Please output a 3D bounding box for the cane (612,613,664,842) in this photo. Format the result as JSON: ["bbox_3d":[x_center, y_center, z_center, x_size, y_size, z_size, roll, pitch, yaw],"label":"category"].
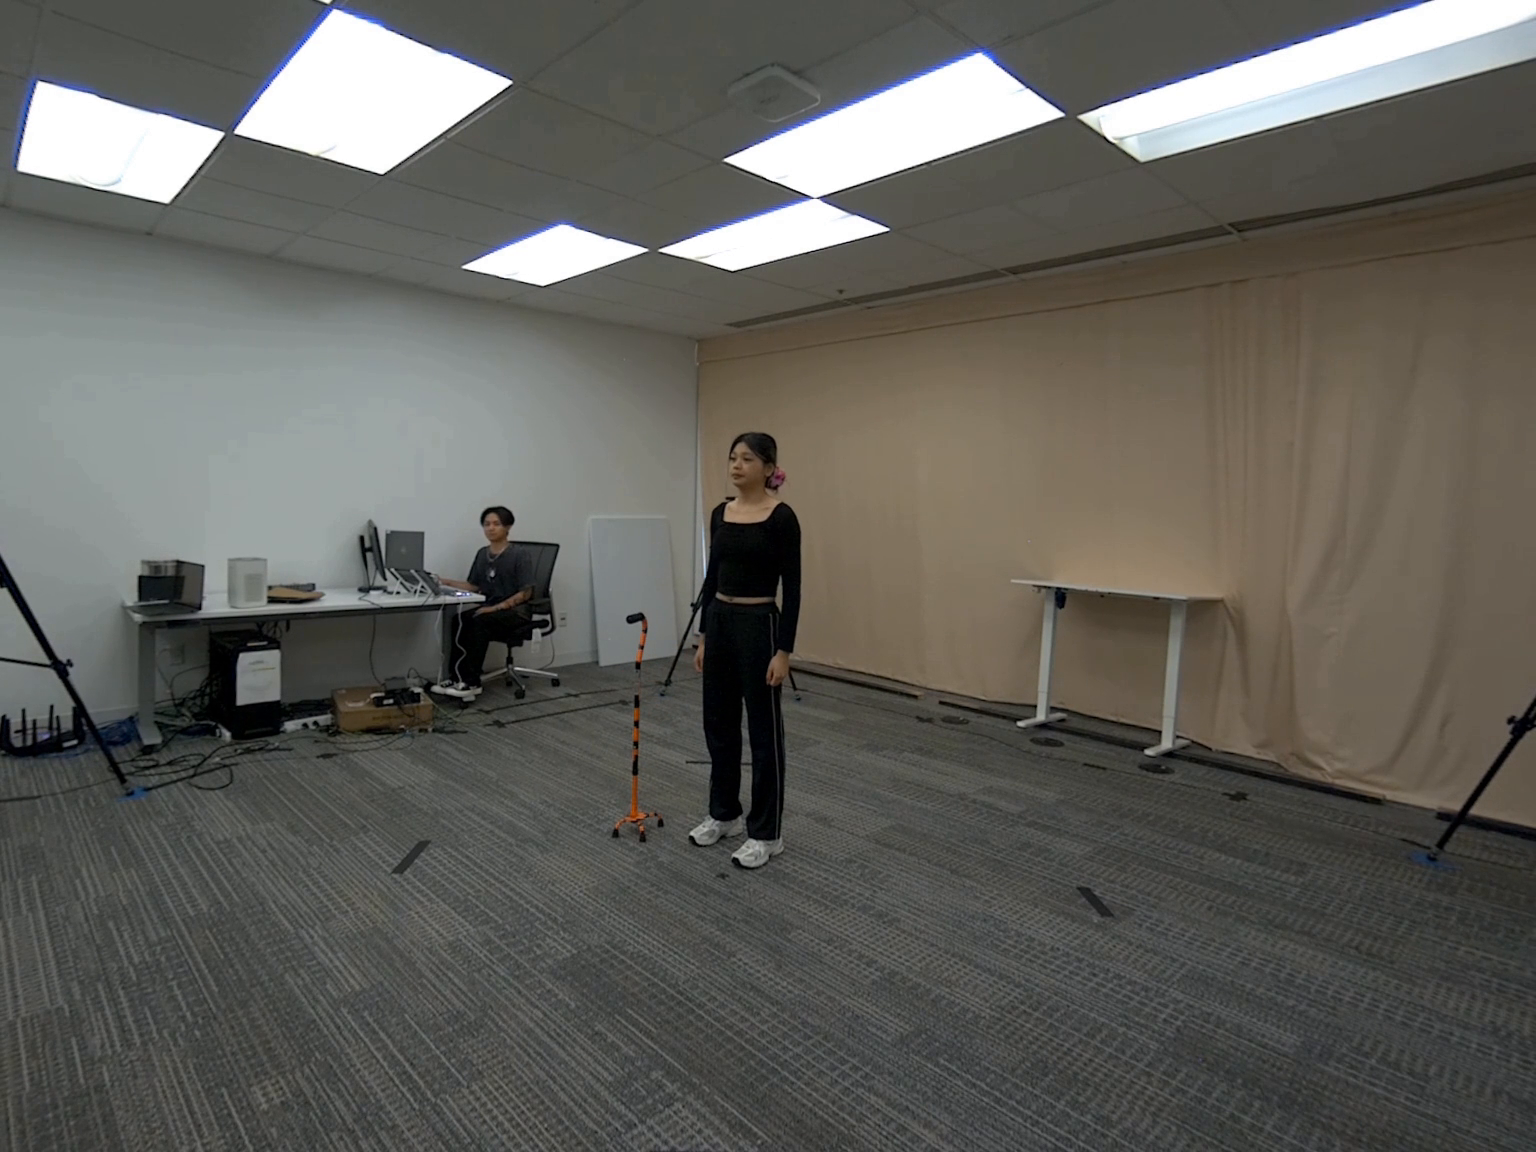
[{"bbox_3d":[-0.533,0.608,3.484,0.154,0.906,0.204,2,3,17],"label":"cane"}]
